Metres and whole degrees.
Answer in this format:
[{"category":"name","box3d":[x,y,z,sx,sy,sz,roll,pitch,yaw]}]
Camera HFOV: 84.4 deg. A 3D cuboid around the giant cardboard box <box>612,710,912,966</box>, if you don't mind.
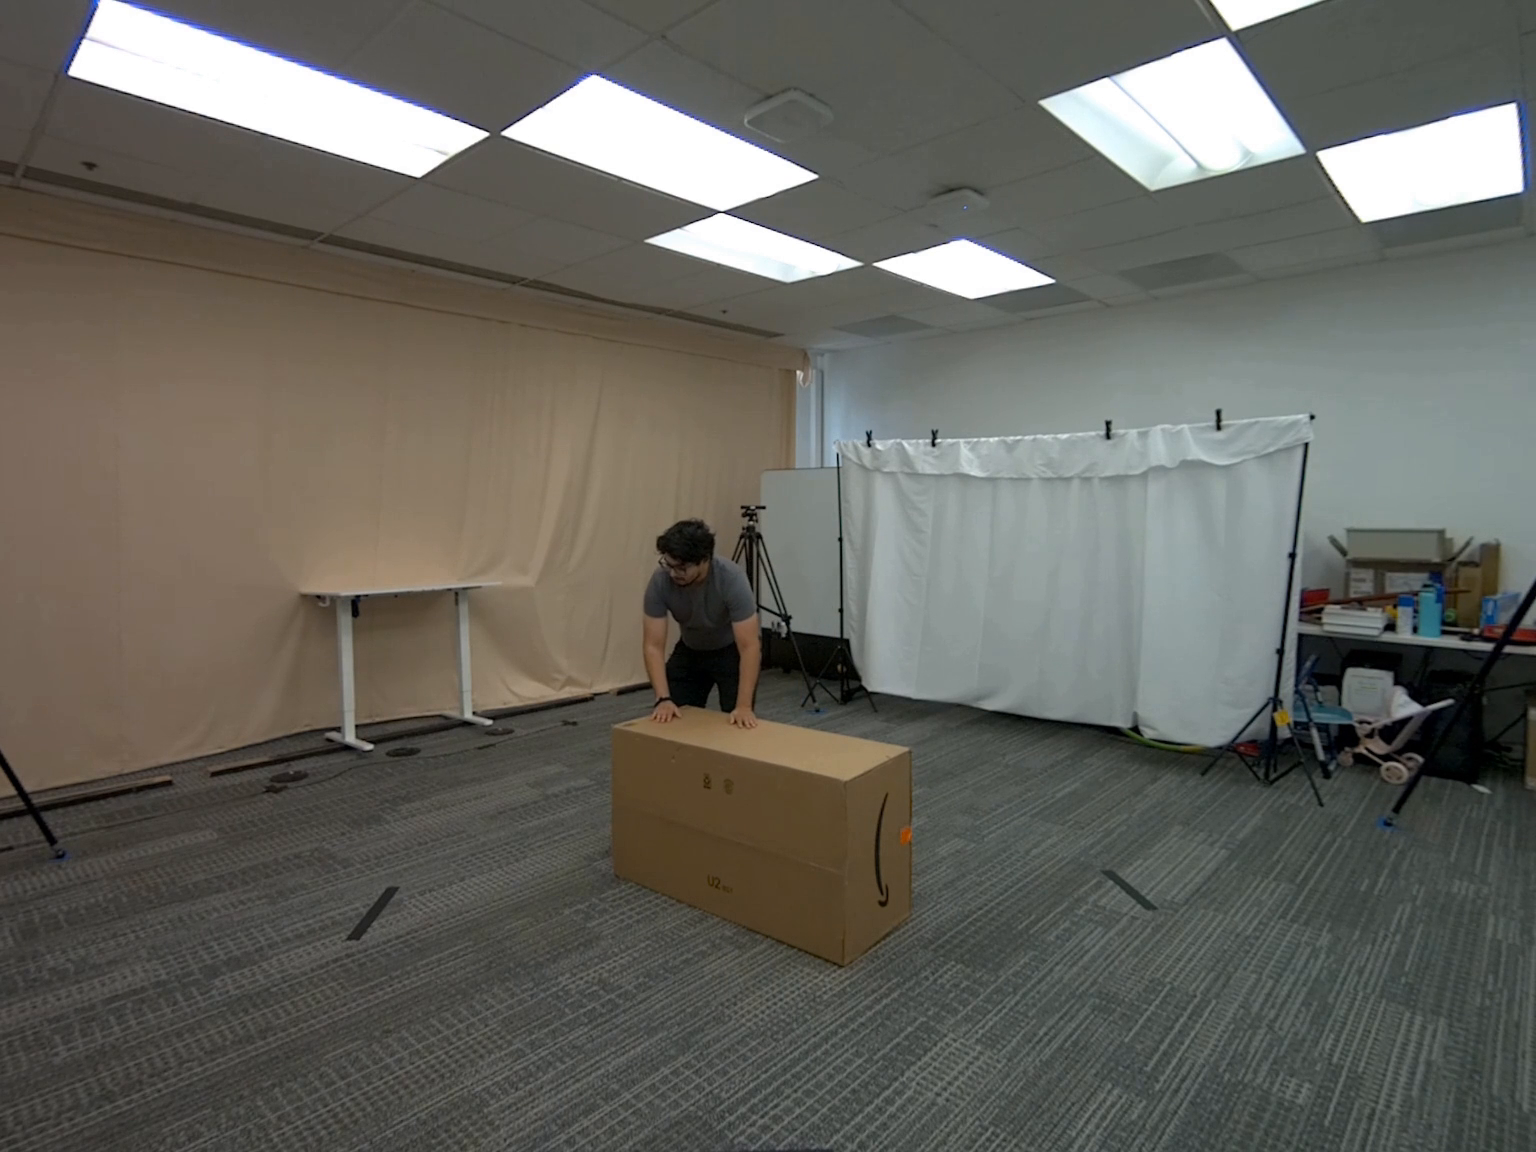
[{"category":"giant cardboard box","box3d":[-0.044,0.853,3.002,1.059,0.576,0.413,3,4,38]}]
